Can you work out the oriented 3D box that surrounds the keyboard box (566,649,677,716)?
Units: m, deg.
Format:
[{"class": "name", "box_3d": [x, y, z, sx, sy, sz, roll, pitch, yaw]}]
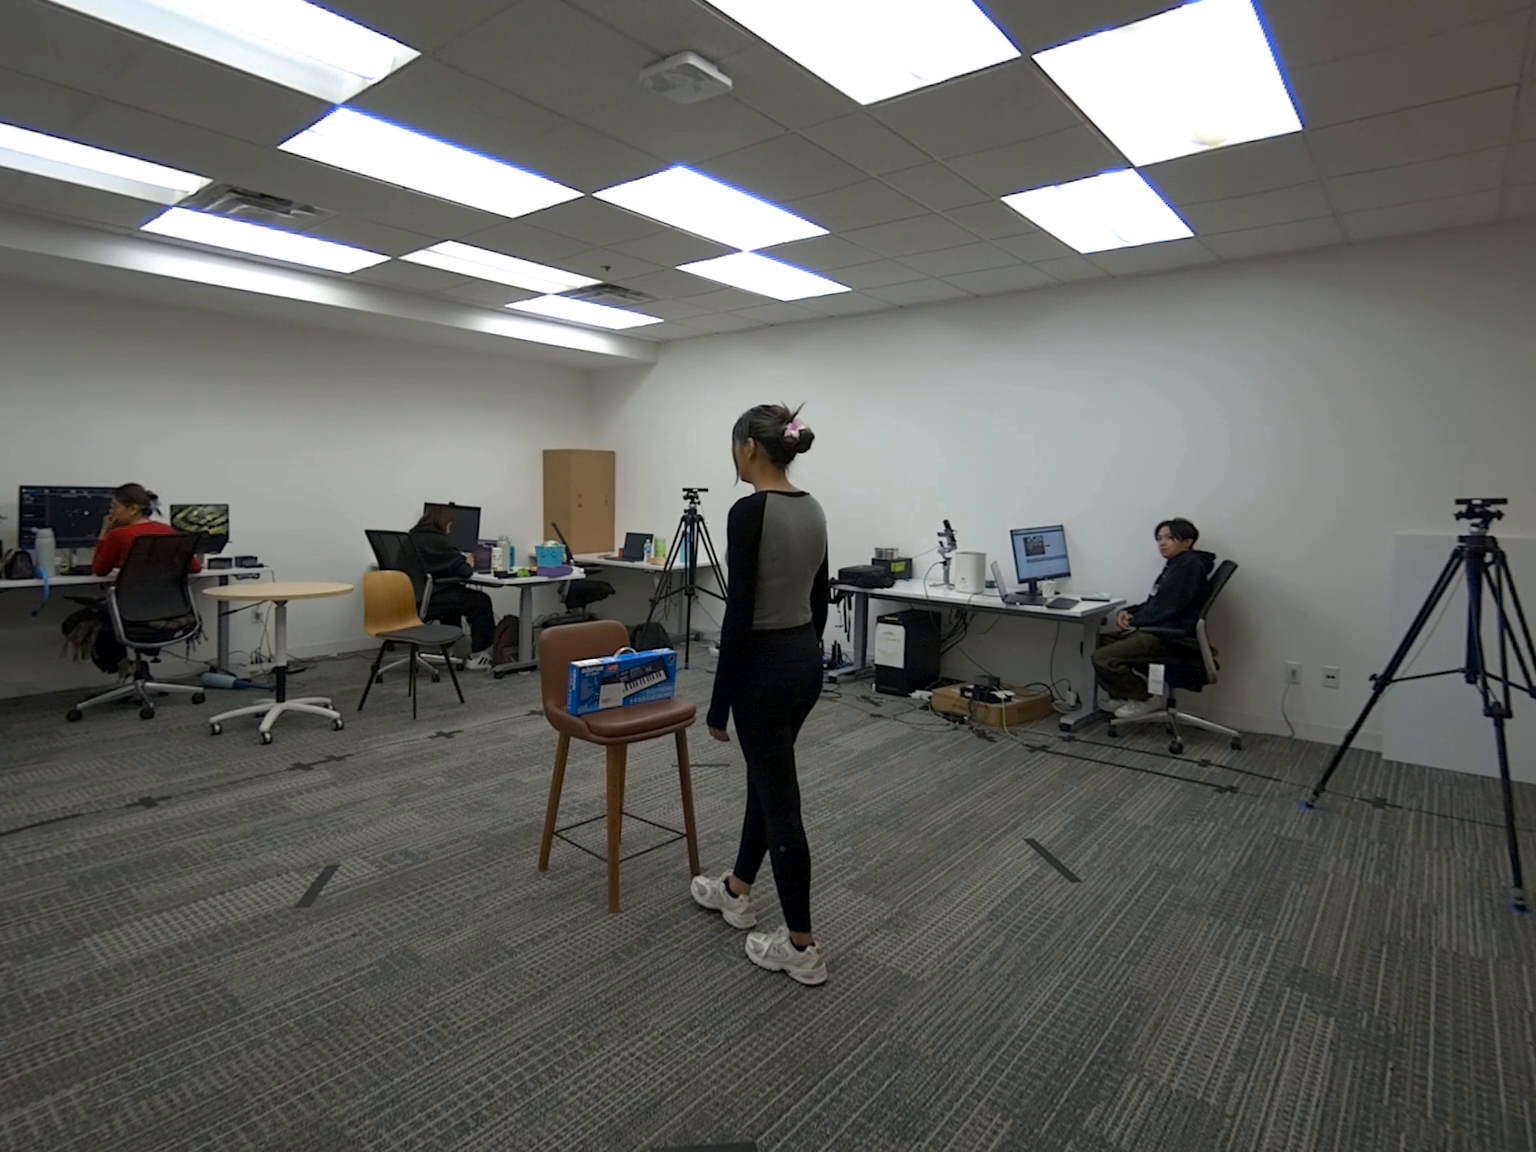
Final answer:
[{"class": "keyboard box", "box_3d": [-0.525, 0.371, 3.037, 0.061, 0.175, 0.424, 11, 11, 43]}]
